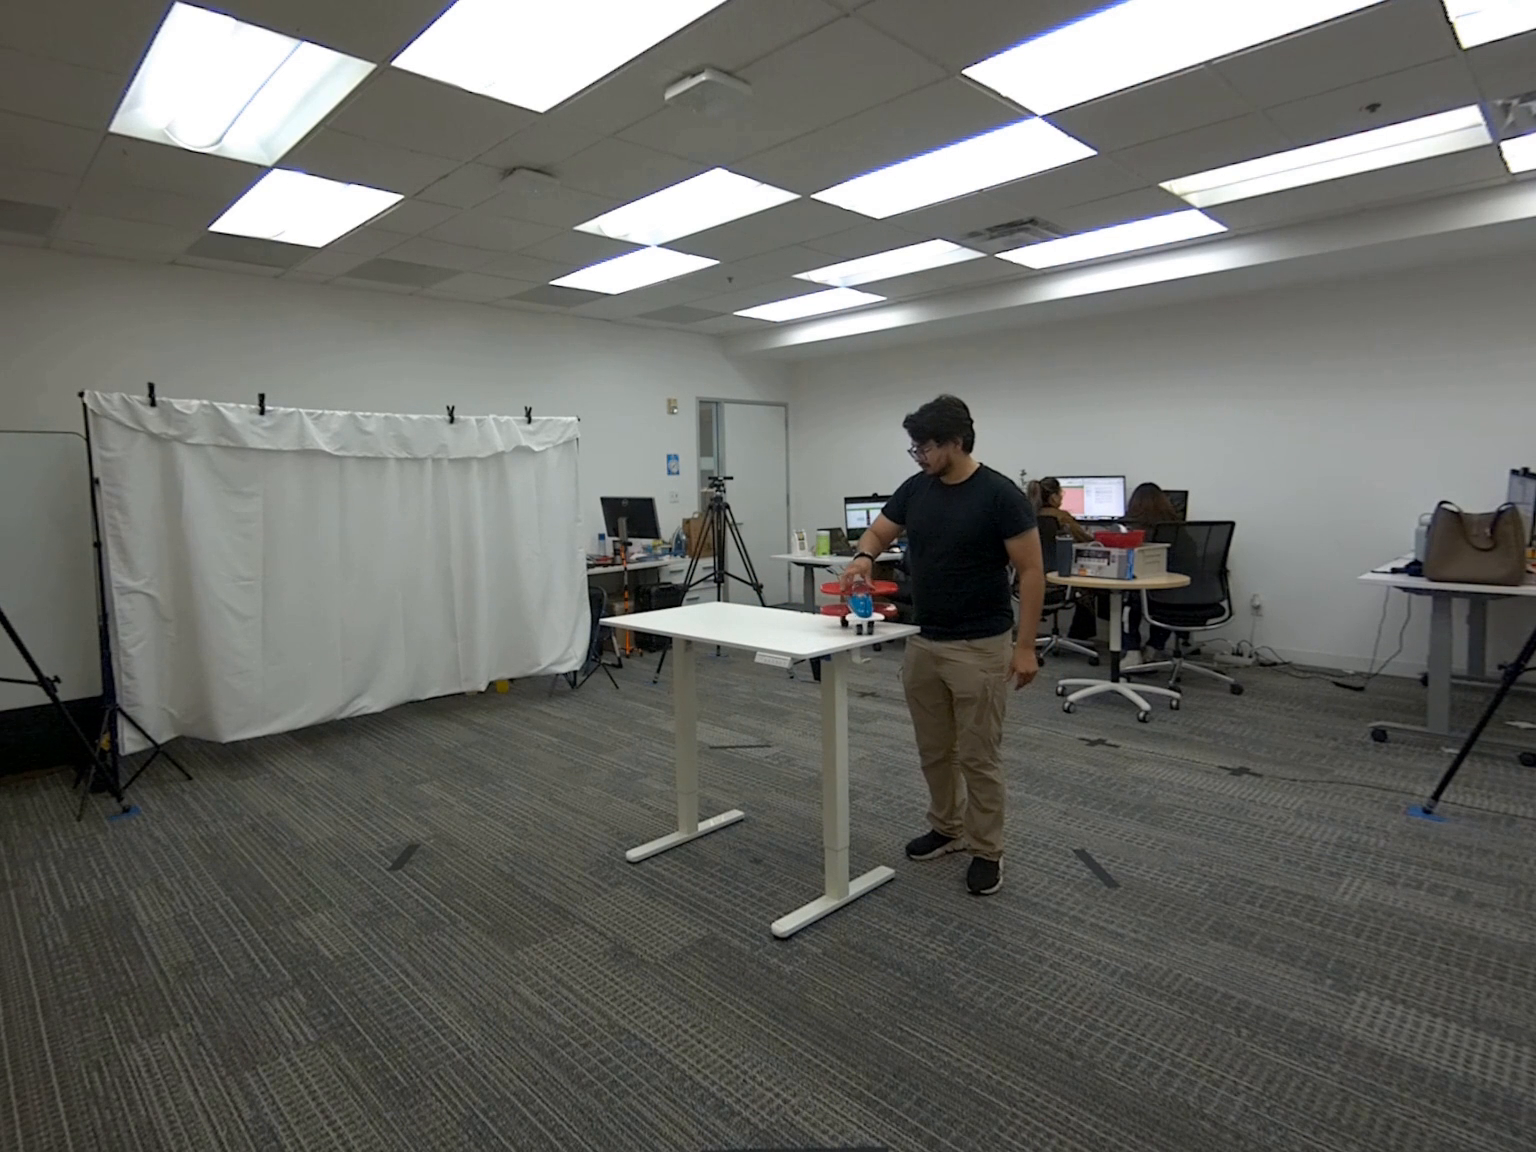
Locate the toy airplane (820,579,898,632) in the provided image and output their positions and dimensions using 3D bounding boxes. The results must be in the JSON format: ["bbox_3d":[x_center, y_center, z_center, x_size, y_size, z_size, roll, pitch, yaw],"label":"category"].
[{"bbox_3d":[0.334,0.101,2.807,0.245,0.156,0.266,-4,5,-28],"label":"toy airplane"}]
